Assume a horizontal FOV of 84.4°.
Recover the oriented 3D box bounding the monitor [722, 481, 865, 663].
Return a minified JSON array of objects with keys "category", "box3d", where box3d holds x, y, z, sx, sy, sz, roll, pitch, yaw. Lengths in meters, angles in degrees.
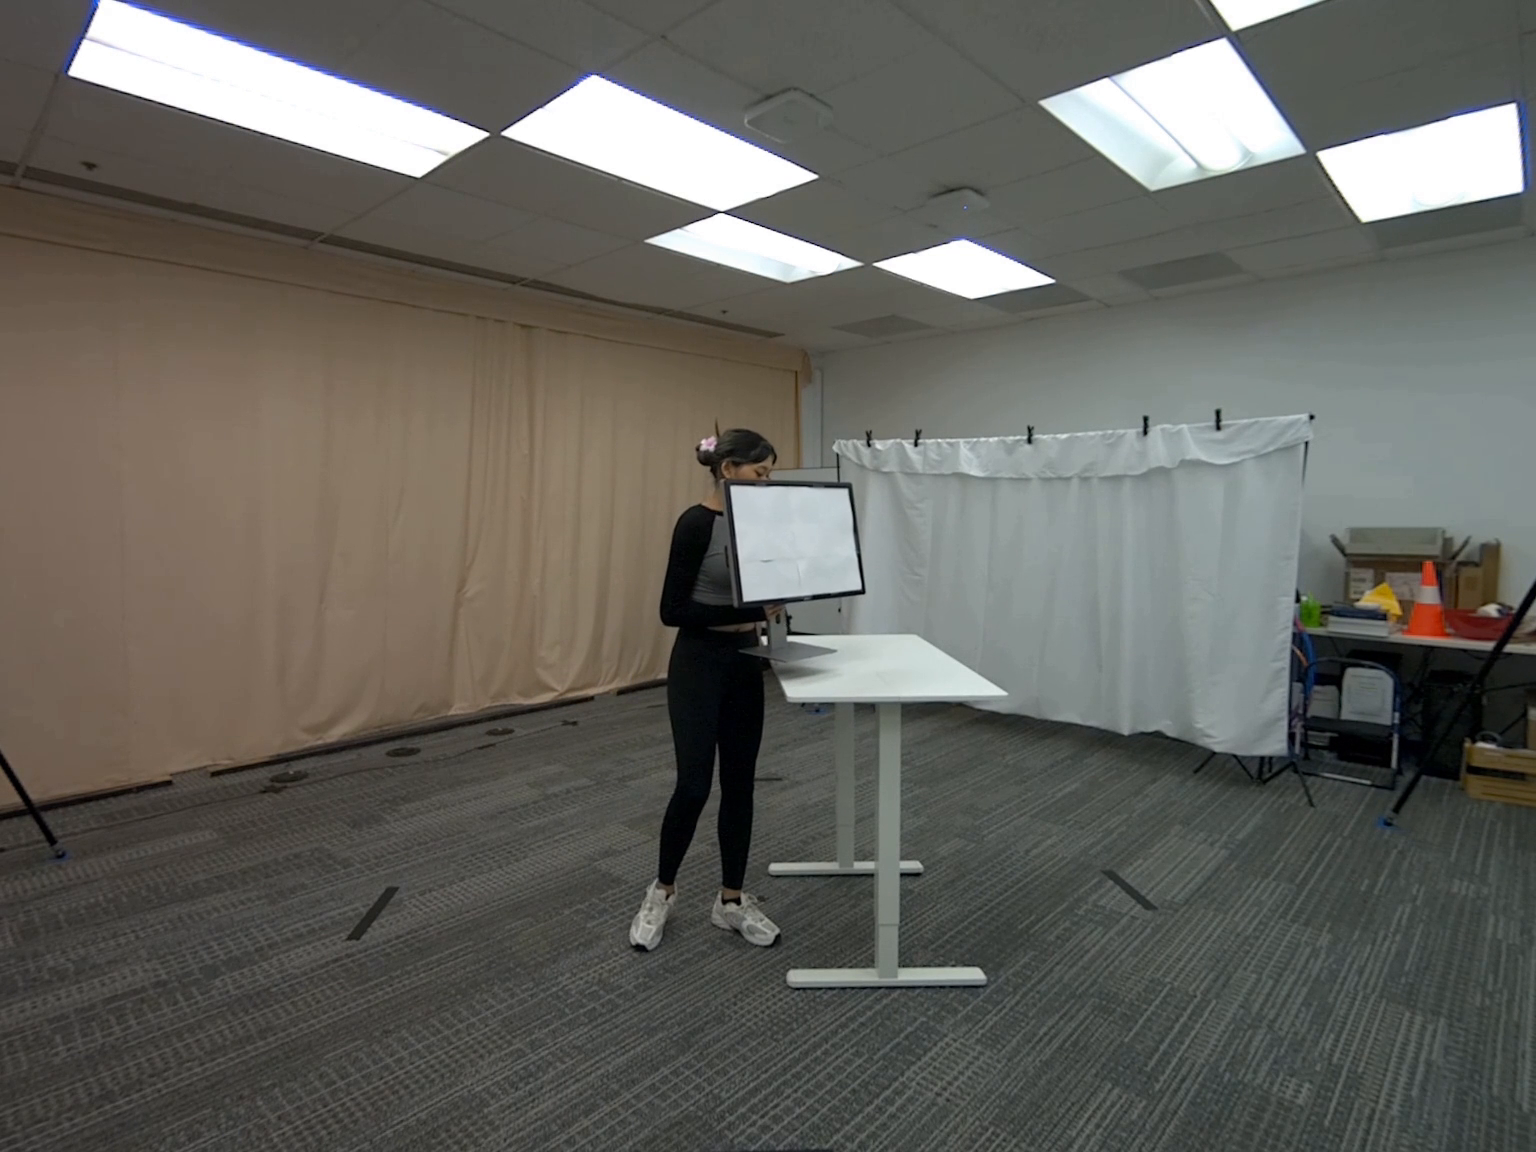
[{"category":"monitor","box3d":[0.065,-0.019,2.551,0.522,0.521,0.193,-4,7,-44]}]
